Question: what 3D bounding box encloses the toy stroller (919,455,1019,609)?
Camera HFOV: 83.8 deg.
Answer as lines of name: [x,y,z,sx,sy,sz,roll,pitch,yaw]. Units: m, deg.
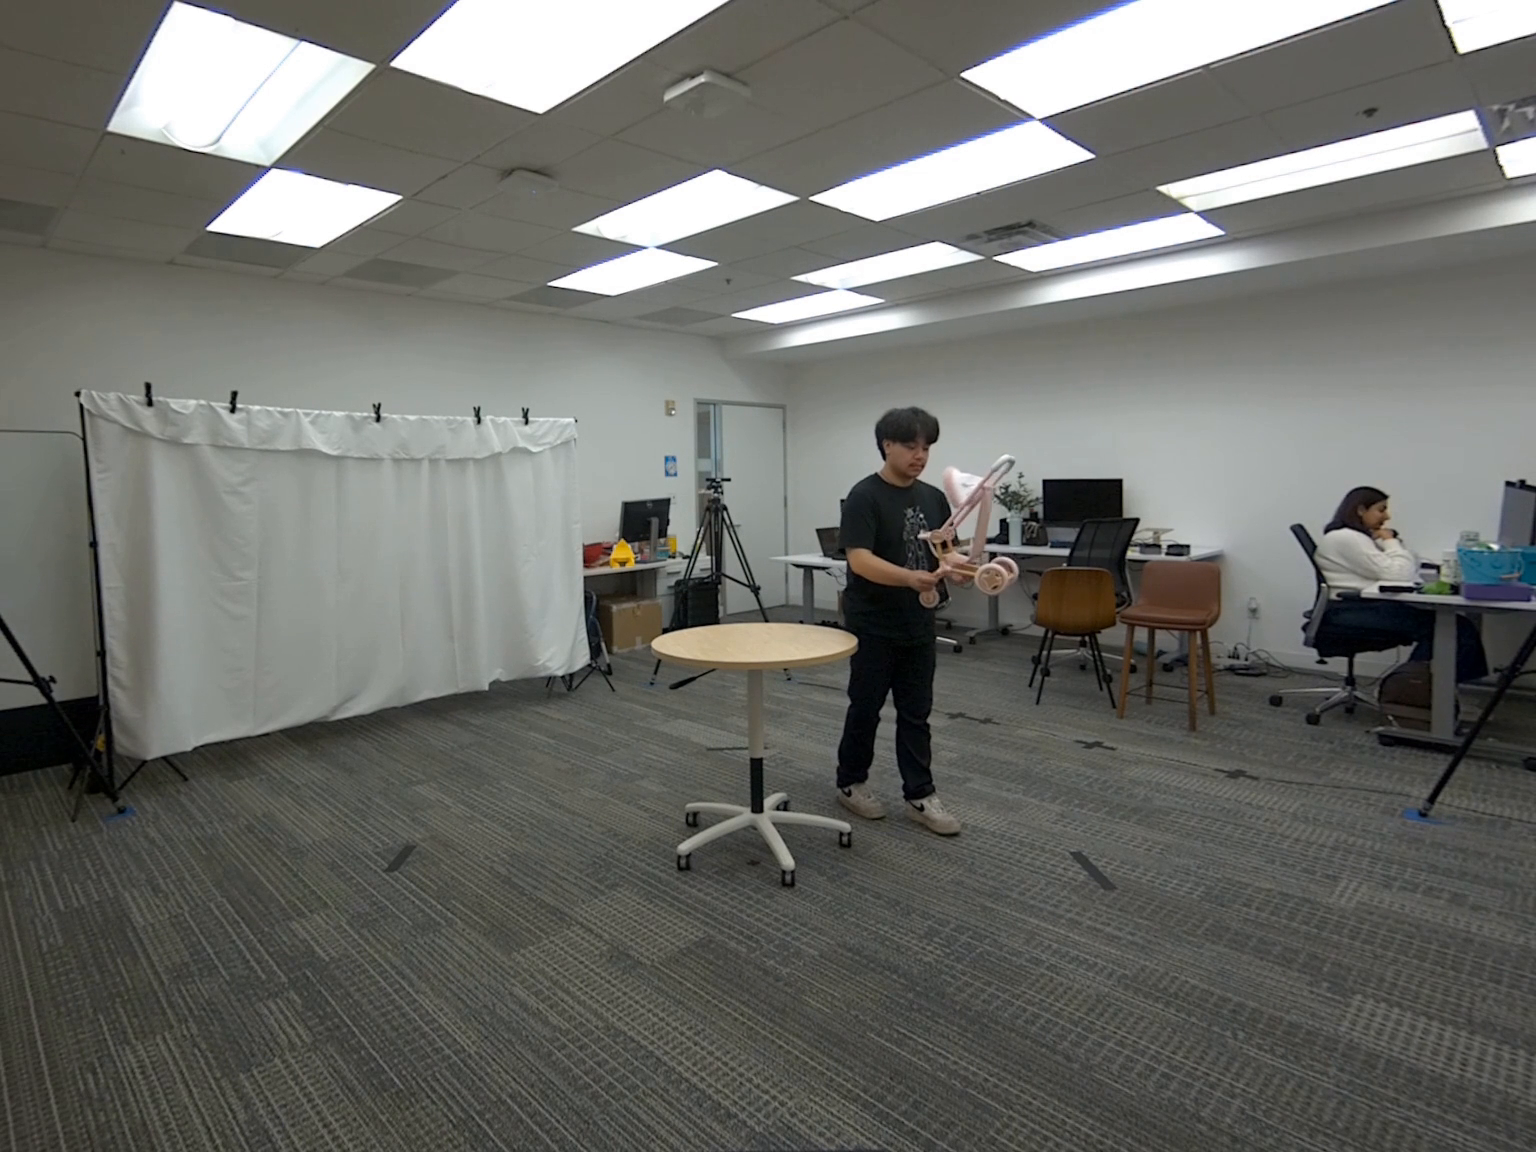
toy stroller: [0.700,-0.156,3.037,0.350,0.533,0.275,-2,4,31]
